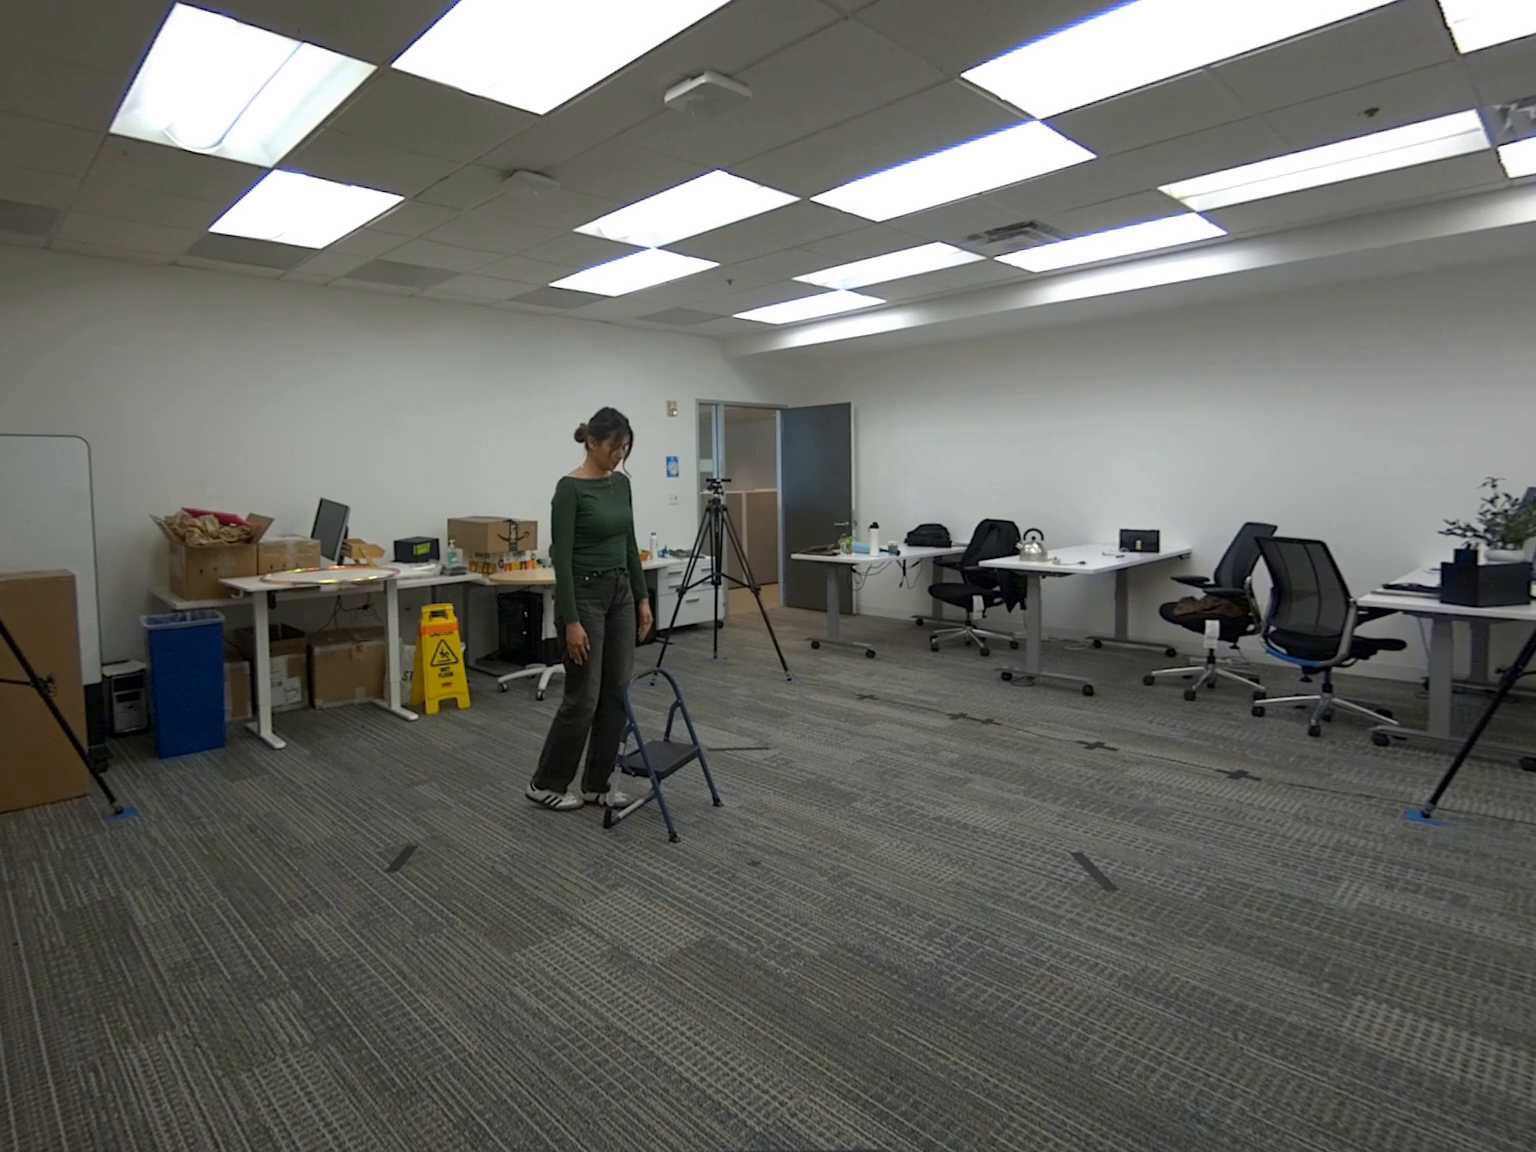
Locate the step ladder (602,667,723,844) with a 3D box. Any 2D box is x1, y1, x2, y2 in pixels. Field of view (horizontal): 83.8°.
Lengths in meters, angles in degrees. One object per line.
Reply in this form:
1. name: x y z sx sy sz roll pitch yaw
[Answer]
1. step ladder: -0.438 0.699 3.535 0.357 0.604 0.423 0 4 23
